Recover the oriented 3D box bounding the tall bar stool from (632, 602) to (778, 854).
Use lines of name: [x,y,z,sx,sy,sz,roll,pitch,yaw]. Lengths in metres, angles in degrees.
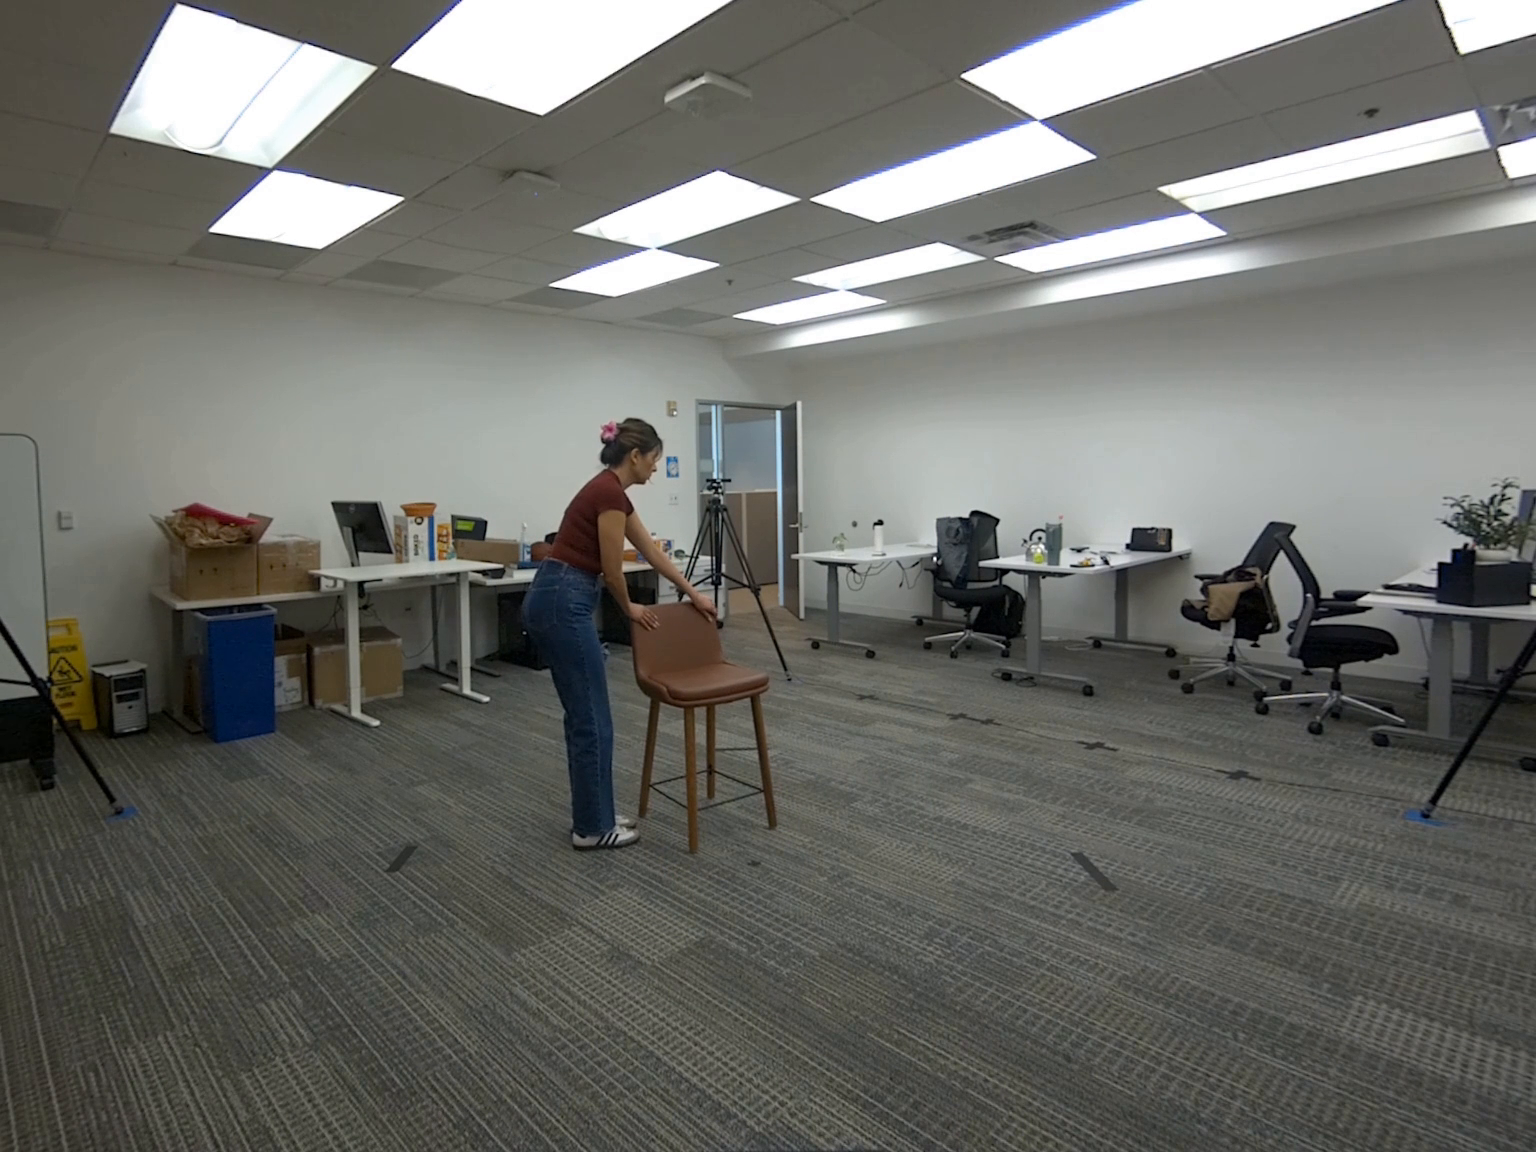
tall bar stool: [-0.276,0.569,3.475,0.445,0.888,0.481,-4,3,-36]
